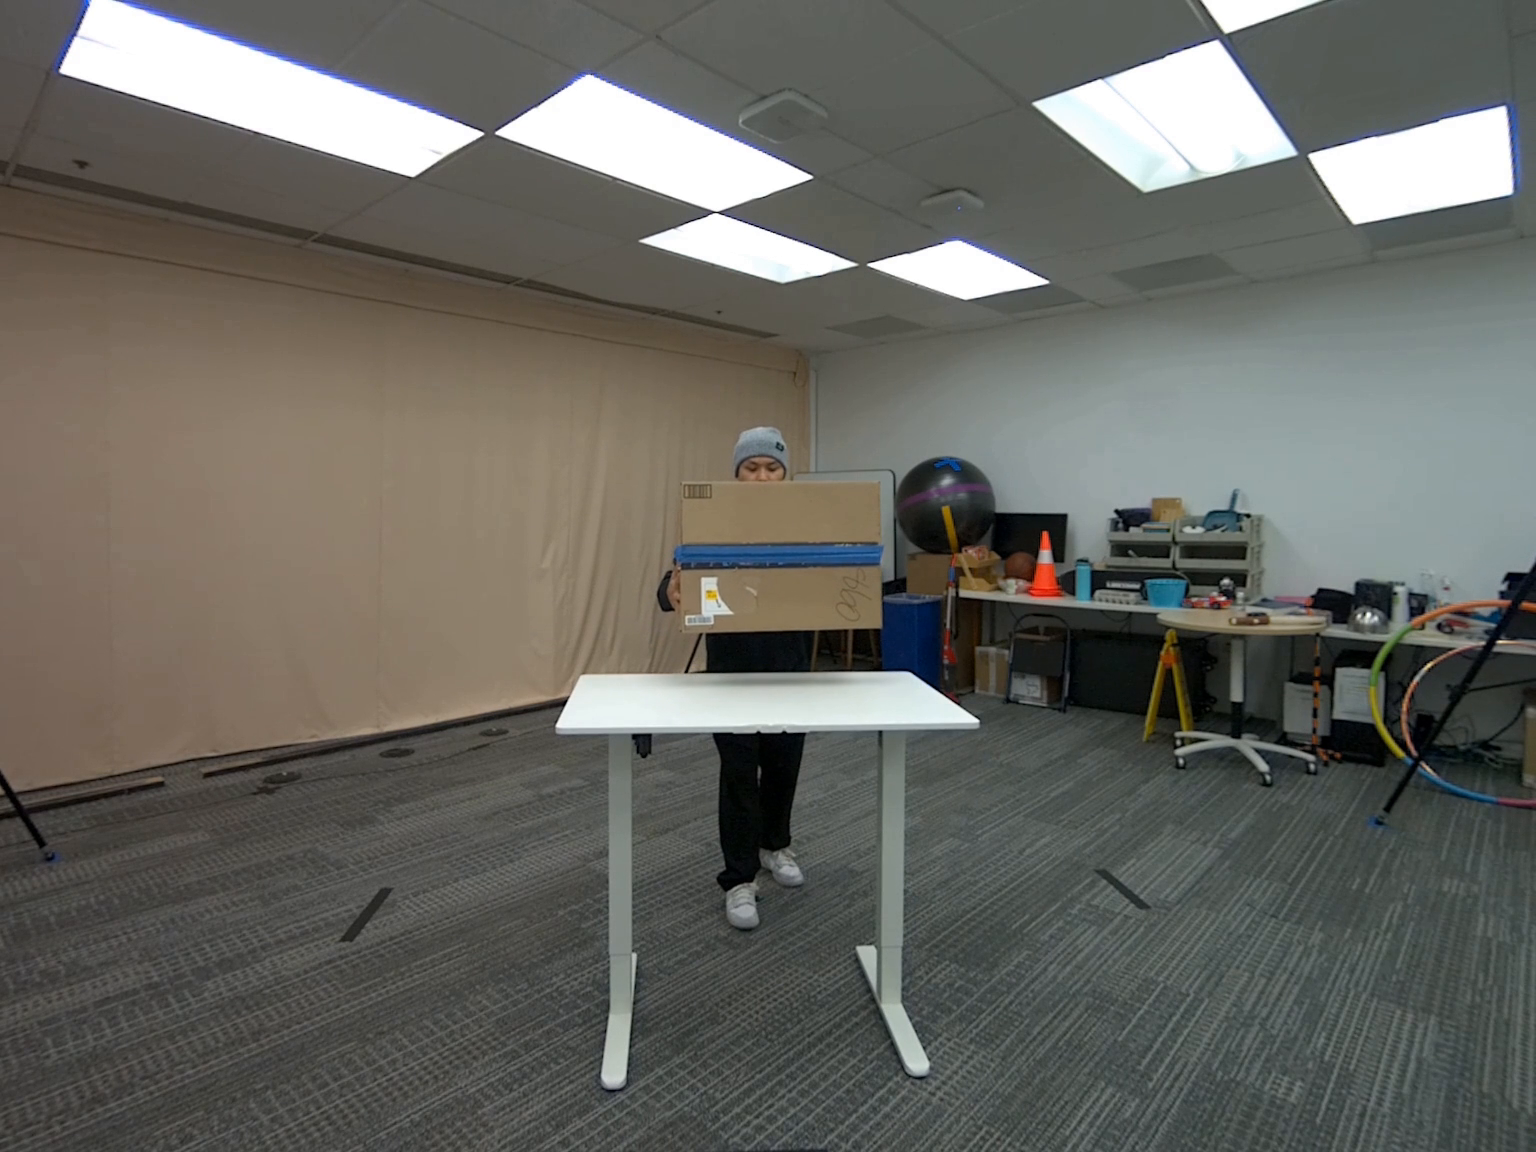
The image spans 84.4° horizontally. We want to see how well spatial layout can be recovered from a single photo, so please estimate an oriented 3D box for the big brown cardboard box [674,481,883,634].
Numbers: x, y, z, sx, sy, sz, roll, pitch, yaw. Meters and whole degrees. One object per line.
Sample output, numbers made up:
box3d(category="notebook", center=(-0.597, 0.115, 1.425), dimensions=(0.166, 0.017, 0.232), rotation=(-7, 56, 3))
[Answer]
box3d(category="big brown cardboard box", center=(0.021, -0.052, 2.442), dimensions=(0.586, 0.418, 0.234), rotation=(-2, -2, -5))
